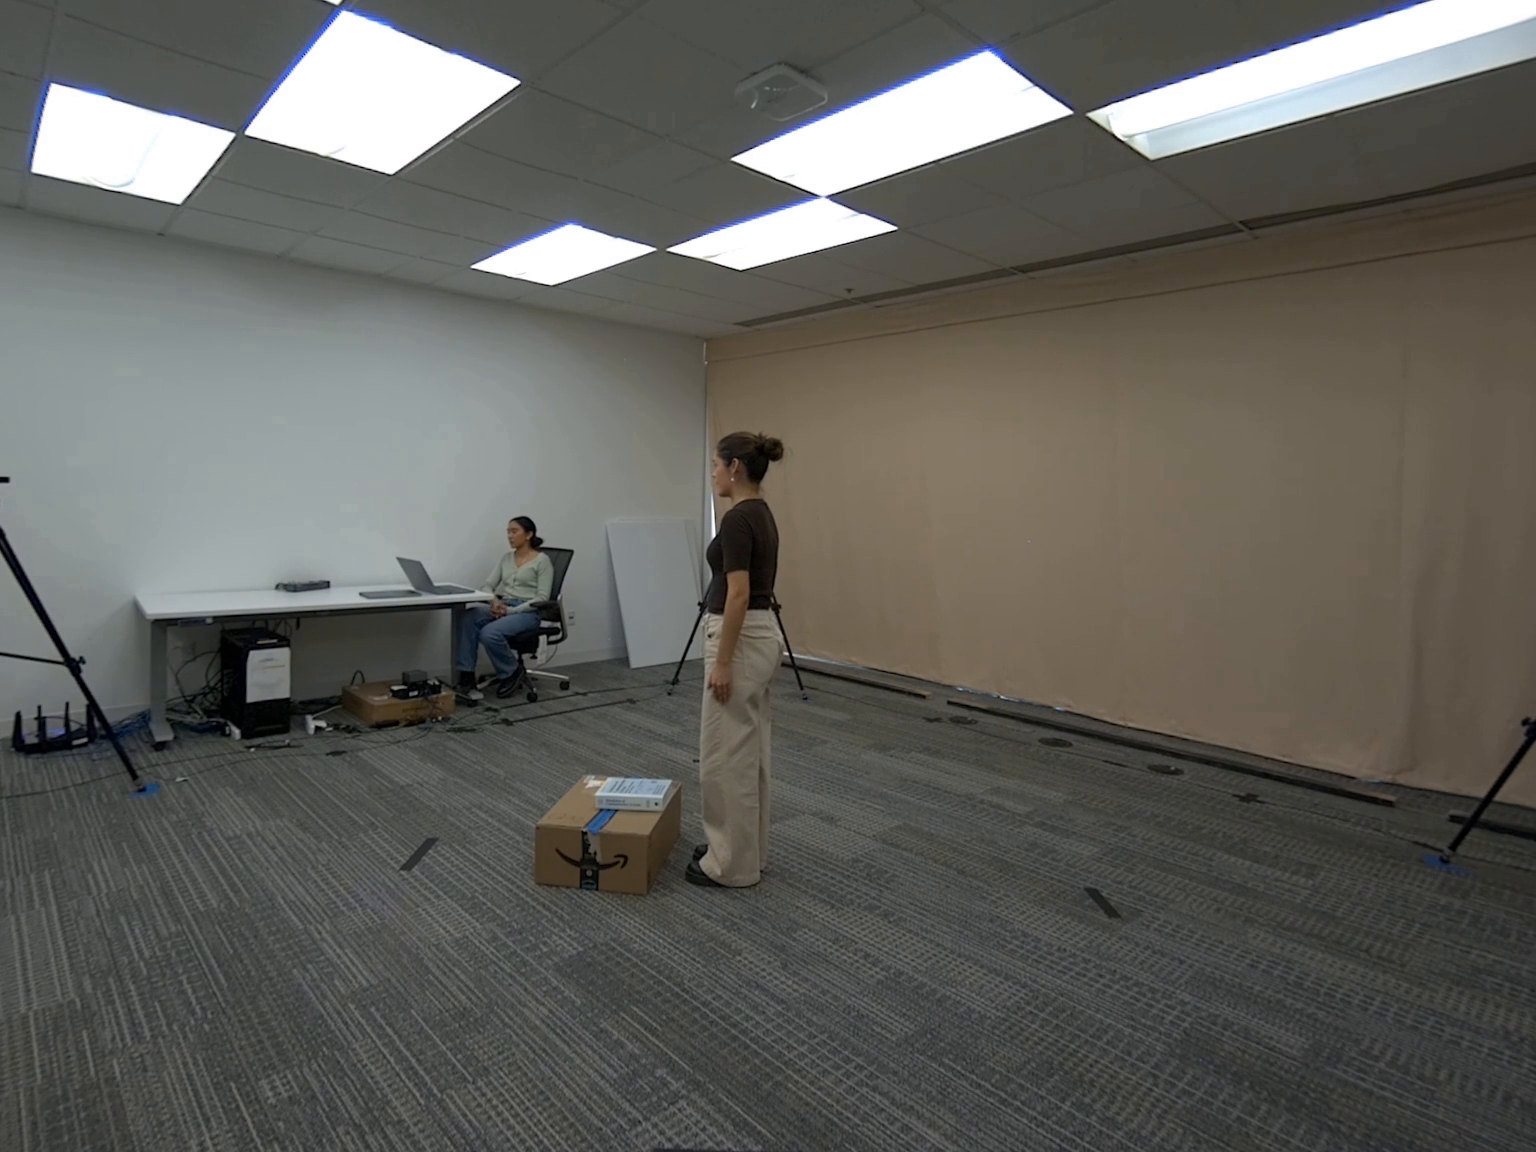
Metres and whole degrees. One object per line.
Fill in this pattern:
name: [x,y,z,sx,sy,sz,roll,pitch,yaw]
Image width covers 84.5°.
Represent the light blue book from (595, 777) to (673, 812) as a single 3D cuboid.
light blue book: [-0.517,0.838,3.243,0.262,0.059,0.191,1,6,7]
